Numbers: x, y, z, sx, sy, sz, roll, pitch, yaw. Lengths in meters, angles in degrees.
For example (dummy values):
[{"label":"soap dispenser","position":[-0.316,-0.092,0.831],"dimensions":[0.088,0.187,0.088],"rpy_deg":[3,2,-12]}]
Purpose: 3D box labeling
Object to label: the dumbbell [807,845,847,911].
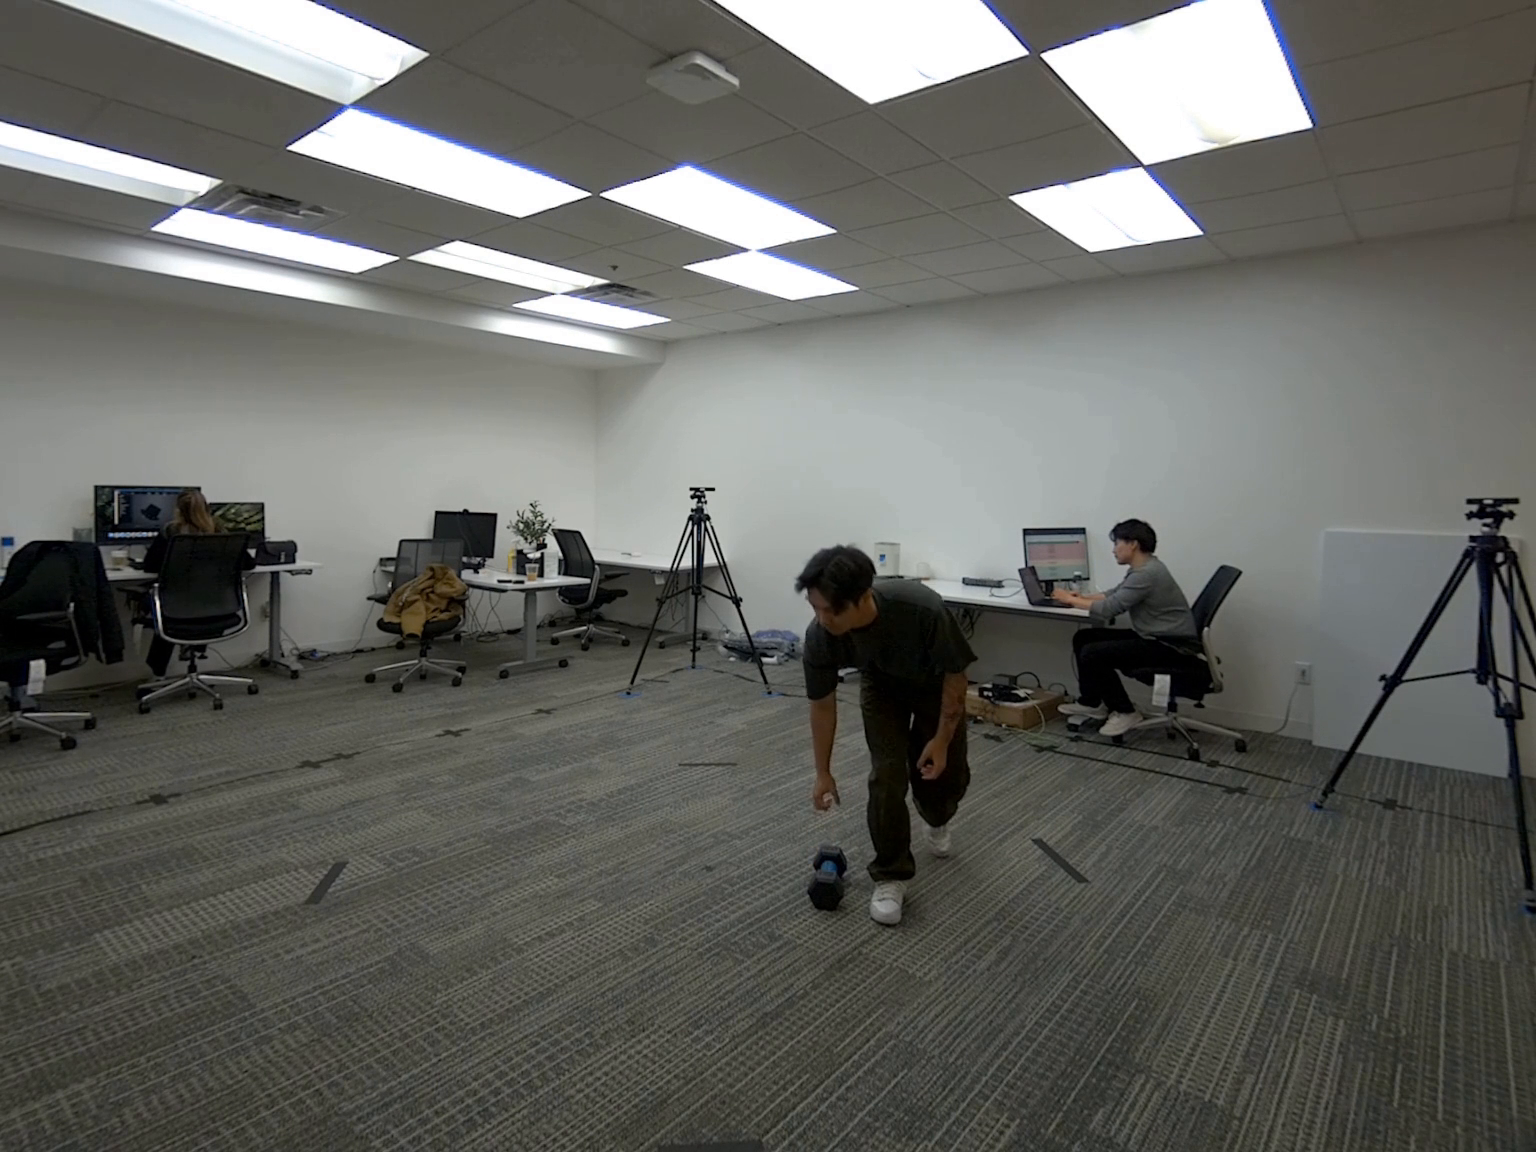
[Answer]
[{"label":"dumbbell","position":[0.201,1.035,2.959],"dimensions":[0.124,0.108,0.291],"rpy_deg":[1,4,9]}]
